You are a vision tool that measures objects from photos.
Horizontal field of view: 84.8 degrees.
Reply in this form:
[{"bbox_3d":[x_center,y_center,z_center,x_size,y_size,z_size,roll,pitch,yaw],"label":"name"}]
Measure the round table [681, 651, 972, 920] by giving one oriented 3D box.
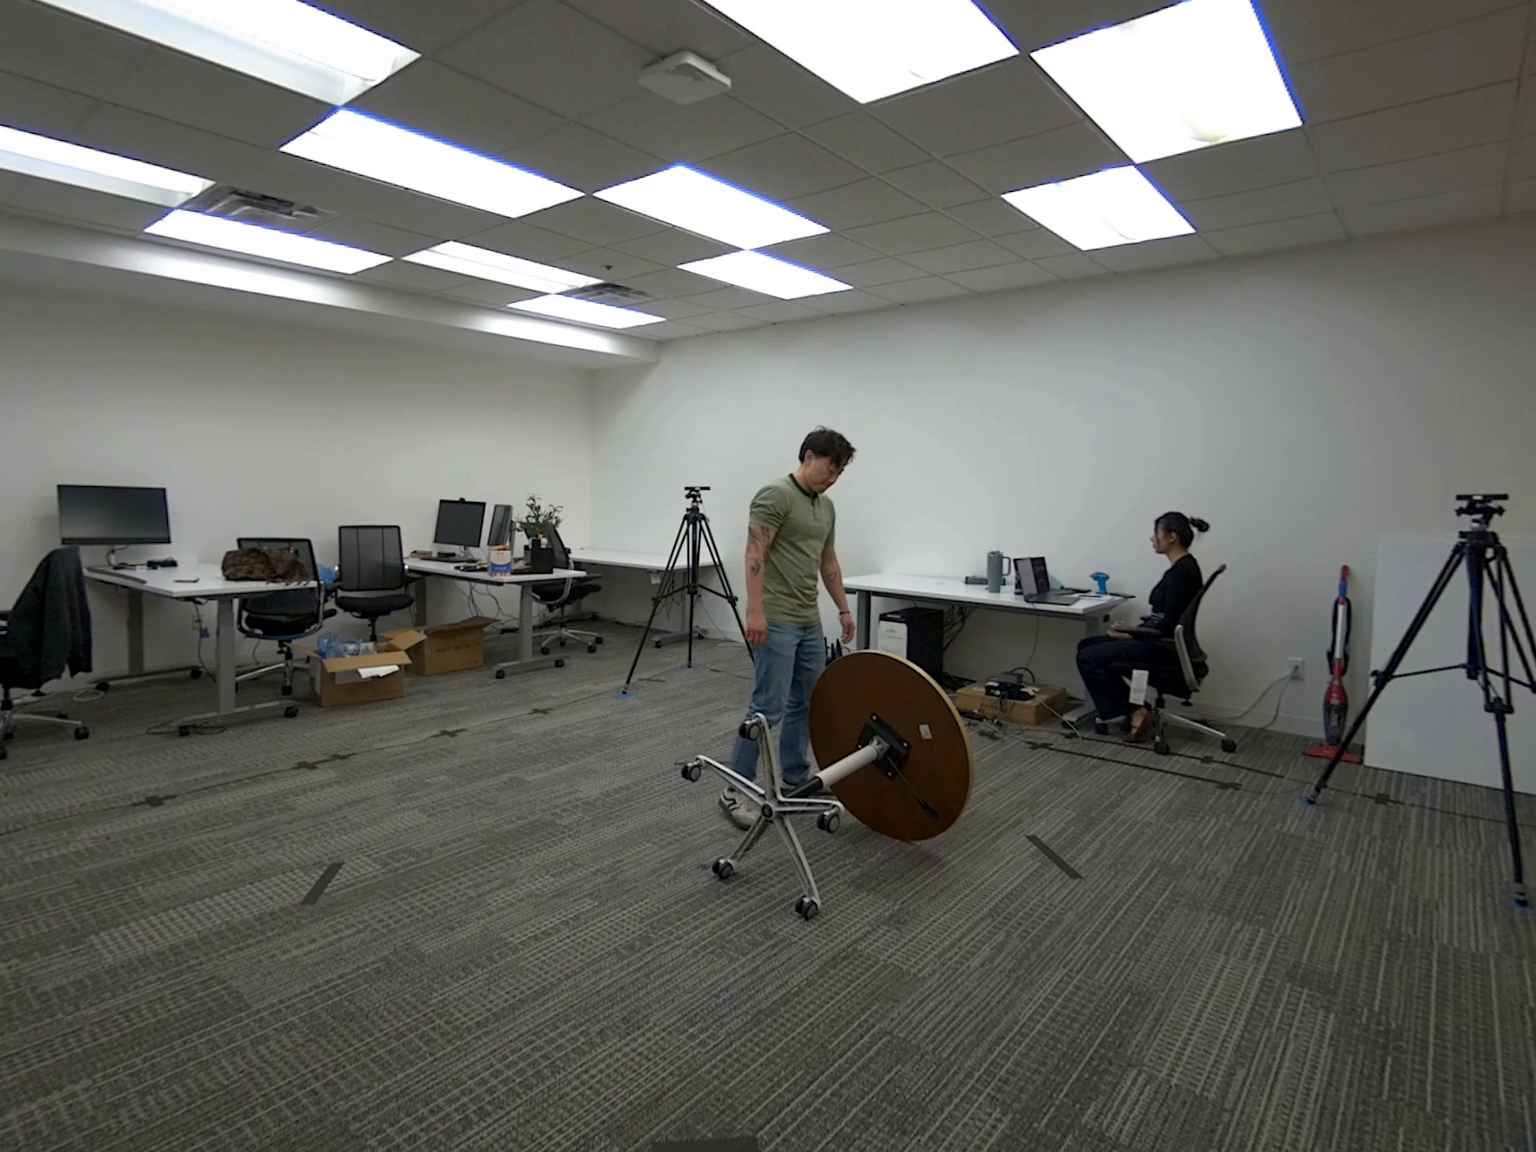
[{"bbox_3d":[0.194,0.740,3.121,0.790,0.757,0.774,5,13,44],"label":"round table"}]
